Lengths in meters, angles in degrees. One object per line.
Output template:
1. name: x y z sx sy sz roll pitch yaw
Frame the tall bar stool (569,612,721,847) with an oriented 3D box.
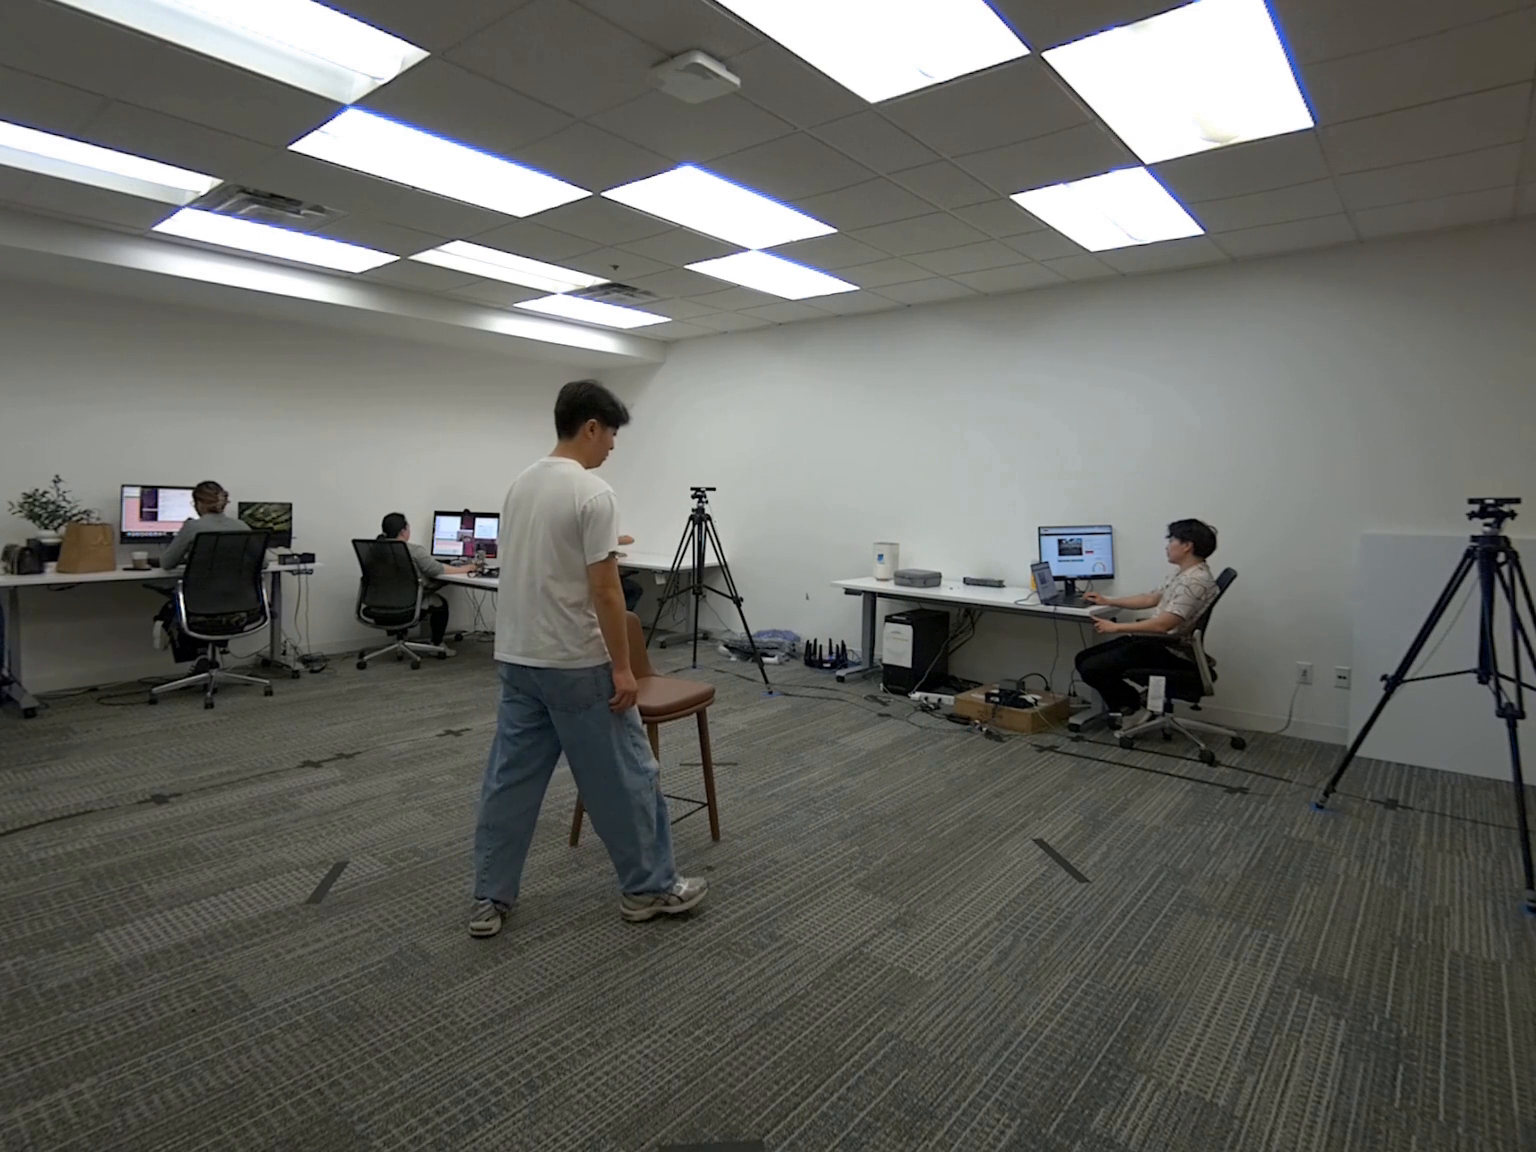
1. tall bar stool: -0.488 0.606 3.304 0.481 0.888 0.444 1 2 32
